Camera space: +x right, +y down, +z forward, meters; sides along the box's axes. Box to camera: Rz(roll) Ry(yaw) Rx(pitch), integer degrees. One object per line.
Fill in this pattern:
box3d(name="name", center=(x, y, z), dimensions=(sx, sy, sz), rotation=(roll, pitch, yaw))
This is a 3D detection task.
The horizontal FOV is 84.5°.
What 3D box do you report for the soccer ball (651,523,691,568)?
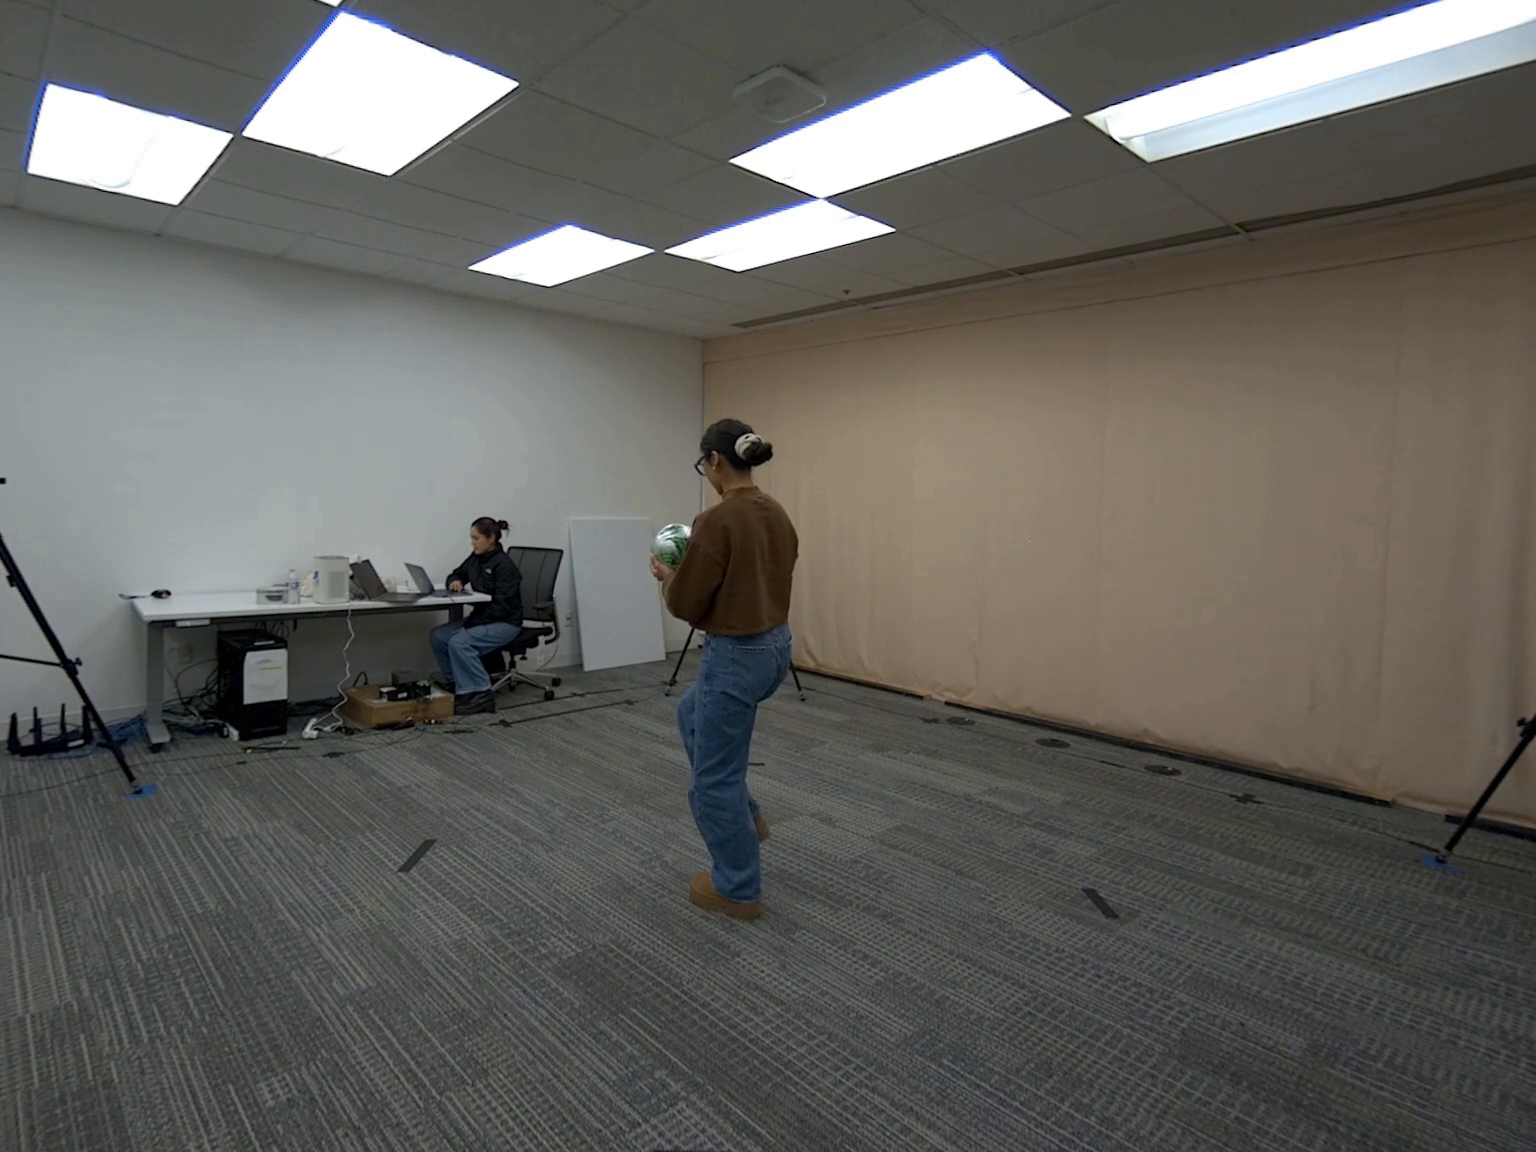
box3d(name="soccer ball", center=(-0.330, -0.085, 2.963), dimensions=(0.187, 0.187, 0.188), rotation=(1, 4, -1))
